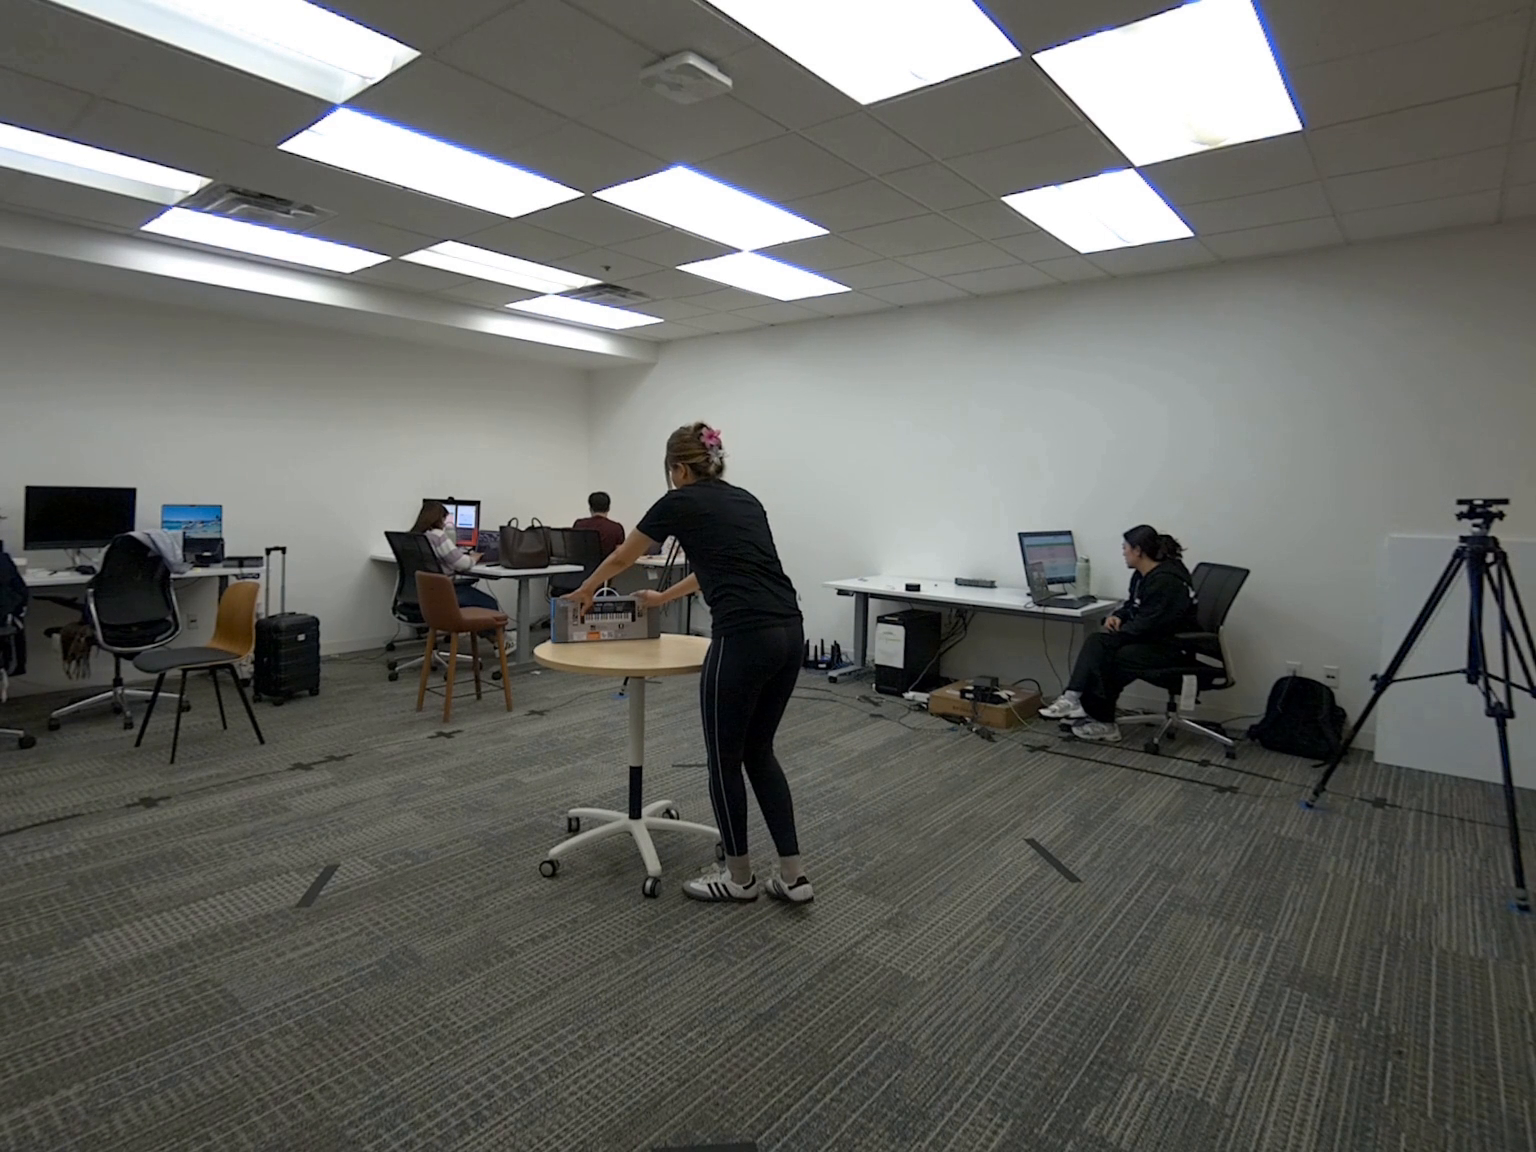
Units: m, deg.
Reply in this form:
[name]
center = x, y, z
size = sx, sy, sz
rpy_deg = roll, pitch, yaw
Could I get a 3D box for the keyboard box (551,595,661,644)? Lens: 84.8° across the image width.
[keyboard box]
center = -0.656, 0.166, 3.390
size = 0.427, 0.176, 0.060
rpy_deg = -1, -1, -23
